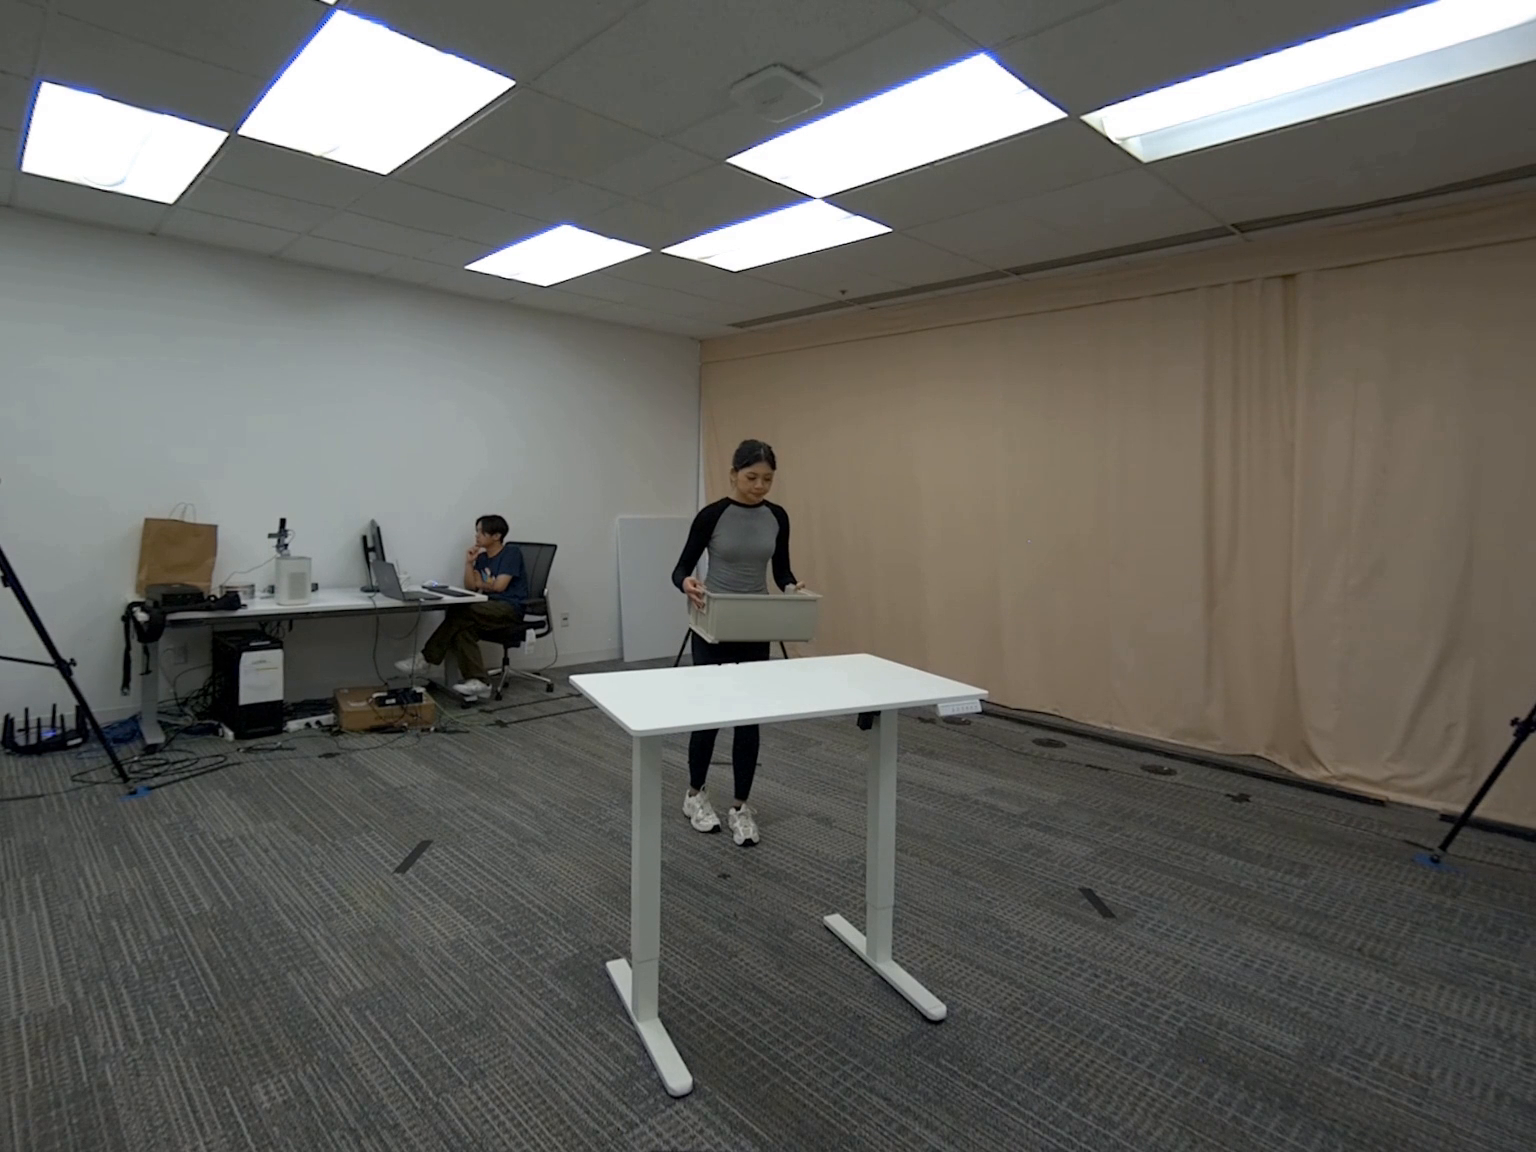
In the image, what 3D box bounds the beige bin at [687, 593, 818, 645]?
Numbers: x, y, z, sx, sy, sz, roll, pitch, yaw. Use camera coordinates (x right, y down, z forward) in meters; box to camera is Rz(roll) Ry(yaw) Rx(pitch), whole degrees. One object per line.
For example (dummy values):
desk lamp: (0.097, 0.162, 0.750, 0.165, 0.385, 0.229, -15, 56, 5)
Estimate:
beige bin: (-0.069, 0.131, 3.218, 0.416, 0.188, 0.384, 1, 8, -18)
